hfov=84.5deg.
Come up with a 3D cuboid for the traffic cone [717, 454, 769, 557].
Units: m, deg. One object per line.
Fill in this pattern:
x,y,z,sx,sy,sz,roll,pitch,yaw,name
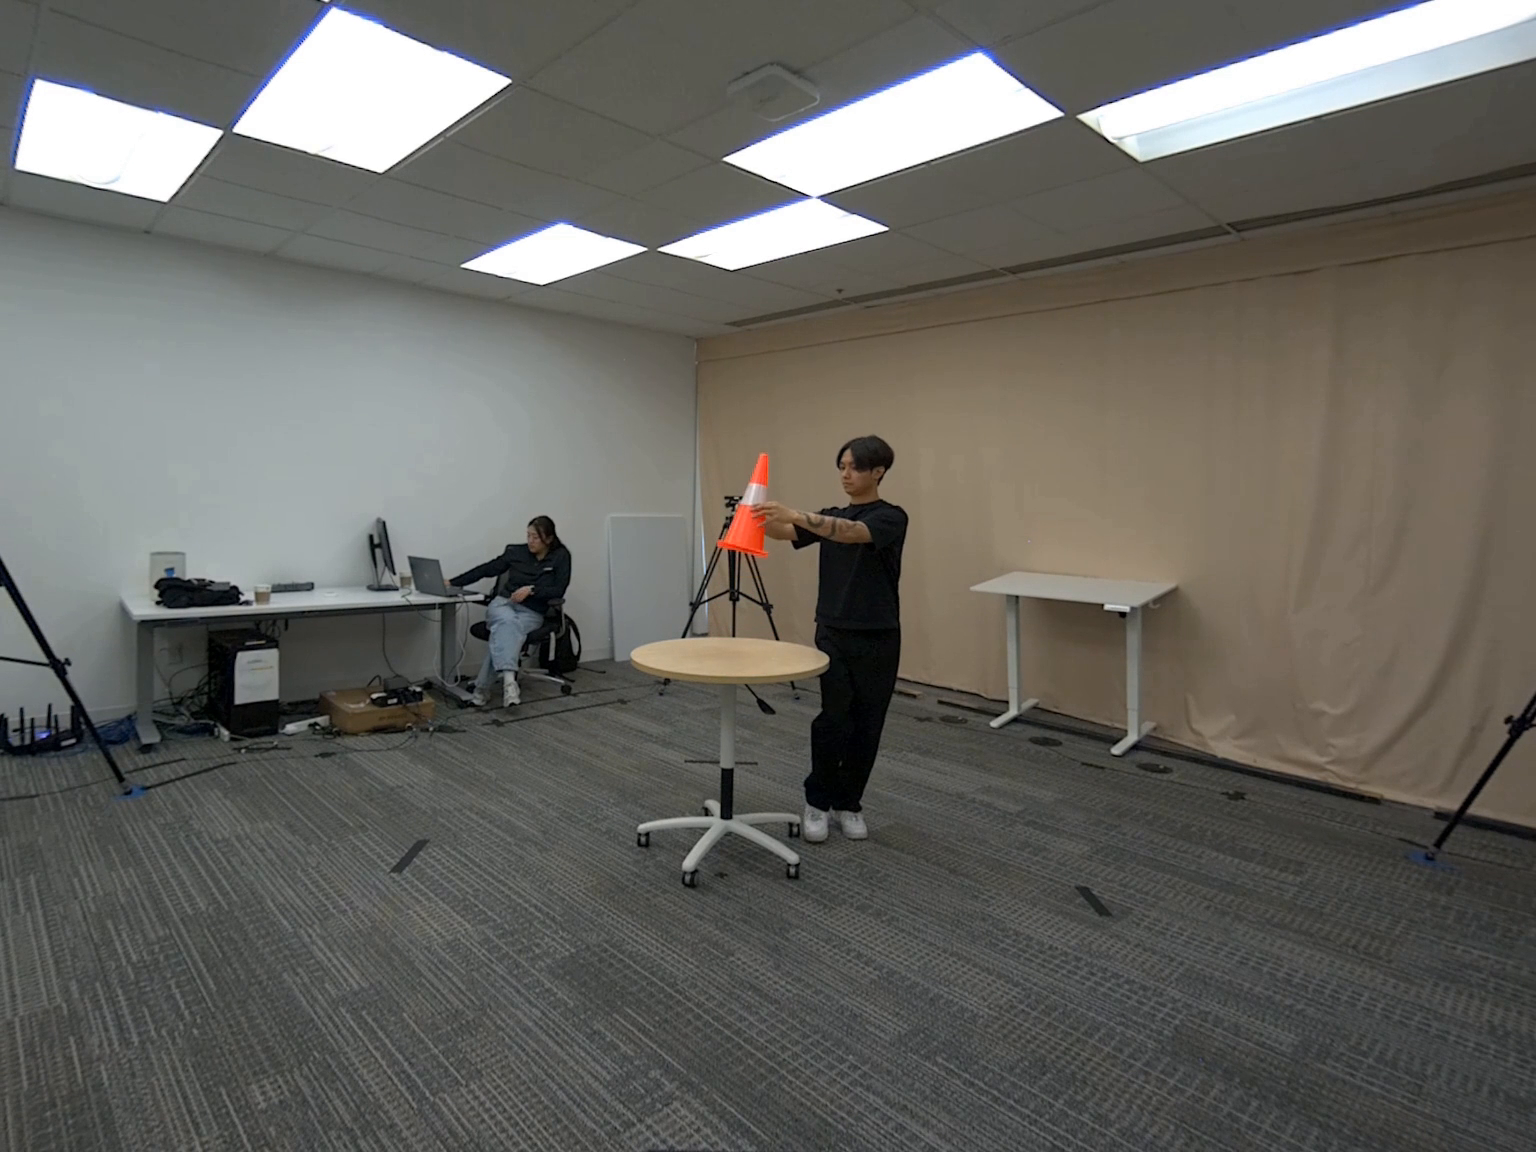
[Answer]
-0.067,-0.275,3.252,0.203,0.384,0.205,11,-3,-4,traffic cone
